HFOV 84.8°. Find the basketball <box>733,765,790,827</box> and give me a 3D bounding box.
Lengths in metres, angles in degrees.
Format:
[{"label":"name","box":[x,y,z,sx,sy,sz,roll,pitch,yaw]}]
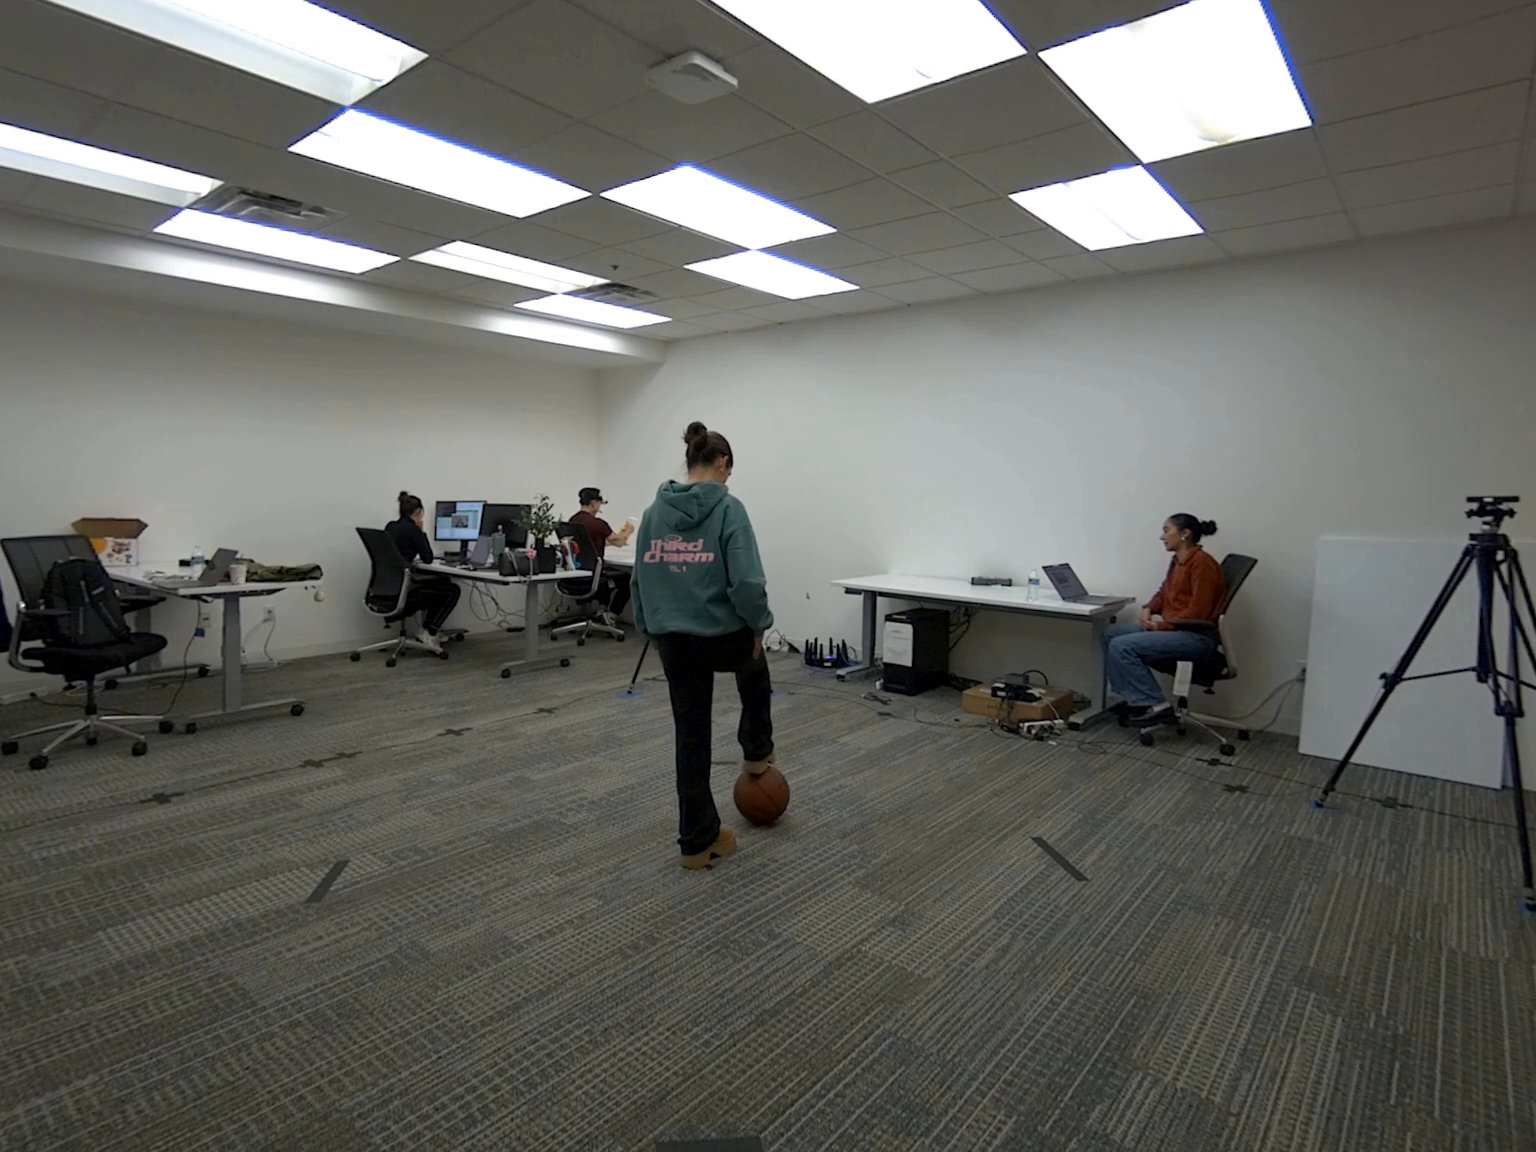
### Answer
[{"label":"basketball","box":[-0.035,0.907,3.544,0.236,0.235,0.237,1,4,-2]}]
